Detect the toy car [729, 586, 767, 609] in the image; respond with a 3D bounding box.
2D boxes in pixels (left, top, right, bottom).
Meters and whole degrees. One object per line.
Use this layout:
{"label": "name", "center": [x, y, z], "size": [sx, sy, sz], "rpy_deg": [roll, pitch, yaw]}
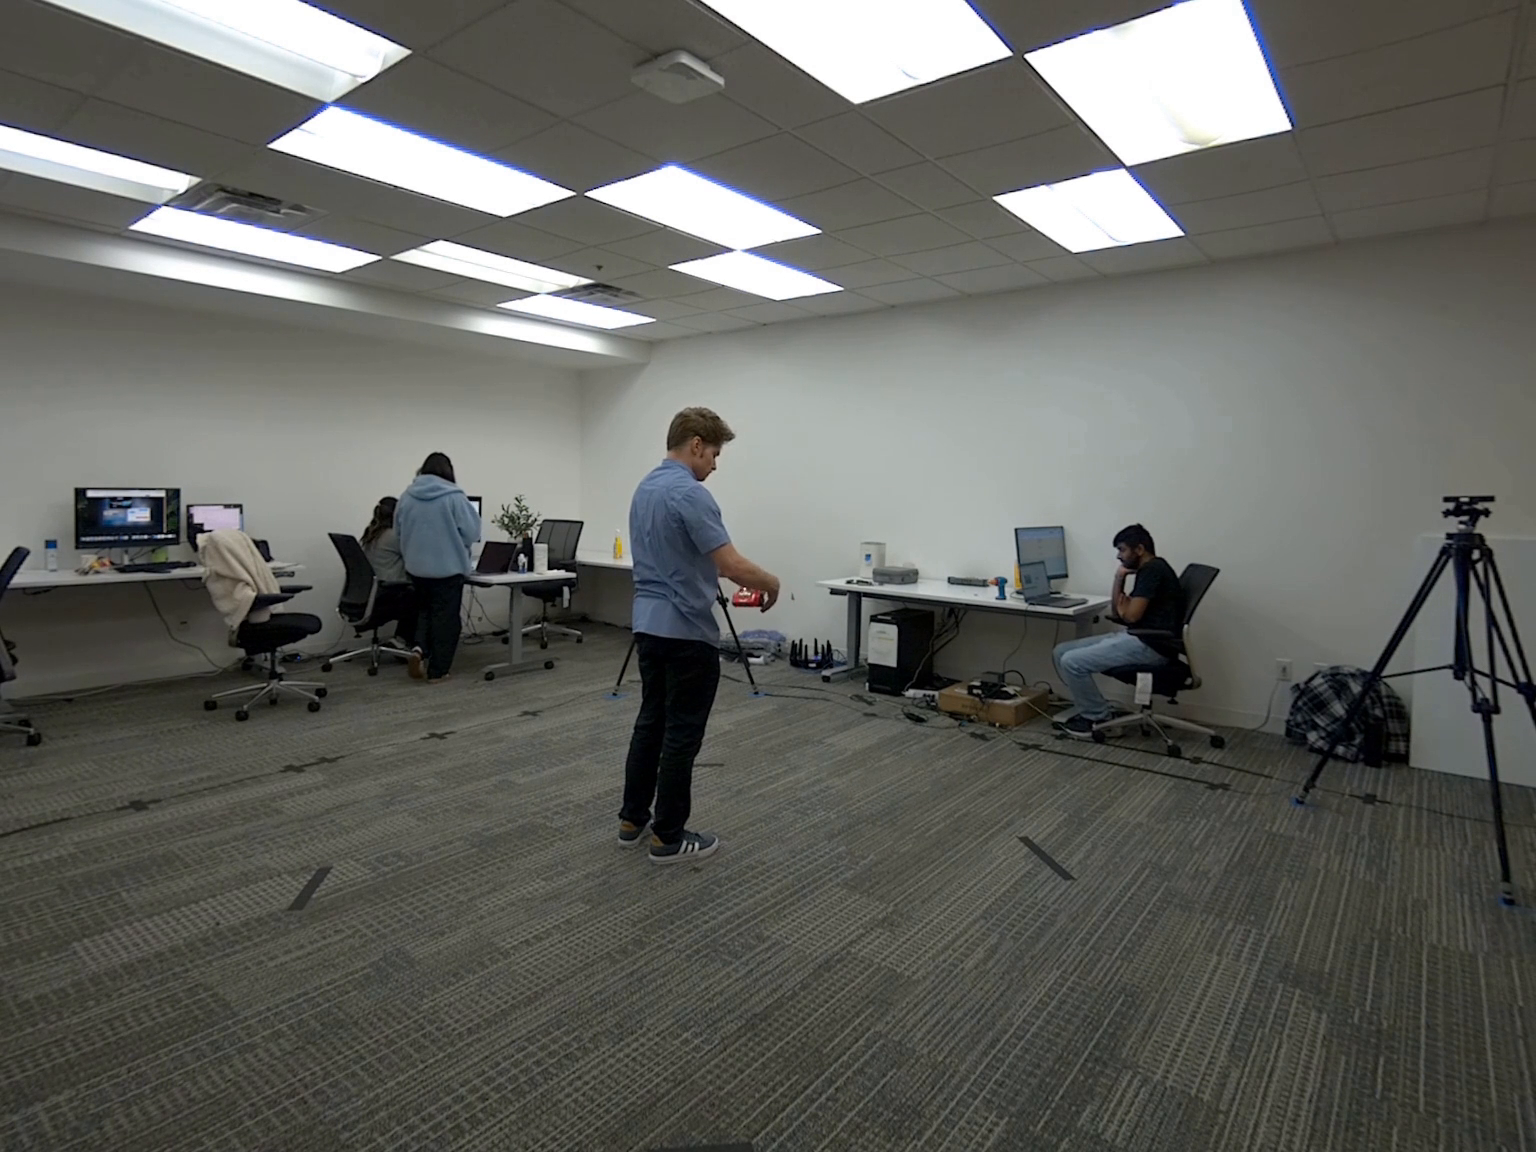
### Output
{"label": "toy car", "center": [-0.101, 0.079, 3.329], "size": [0.133, 0.083, 0.250], "rpy_deg": [-1, 2, 19]}
